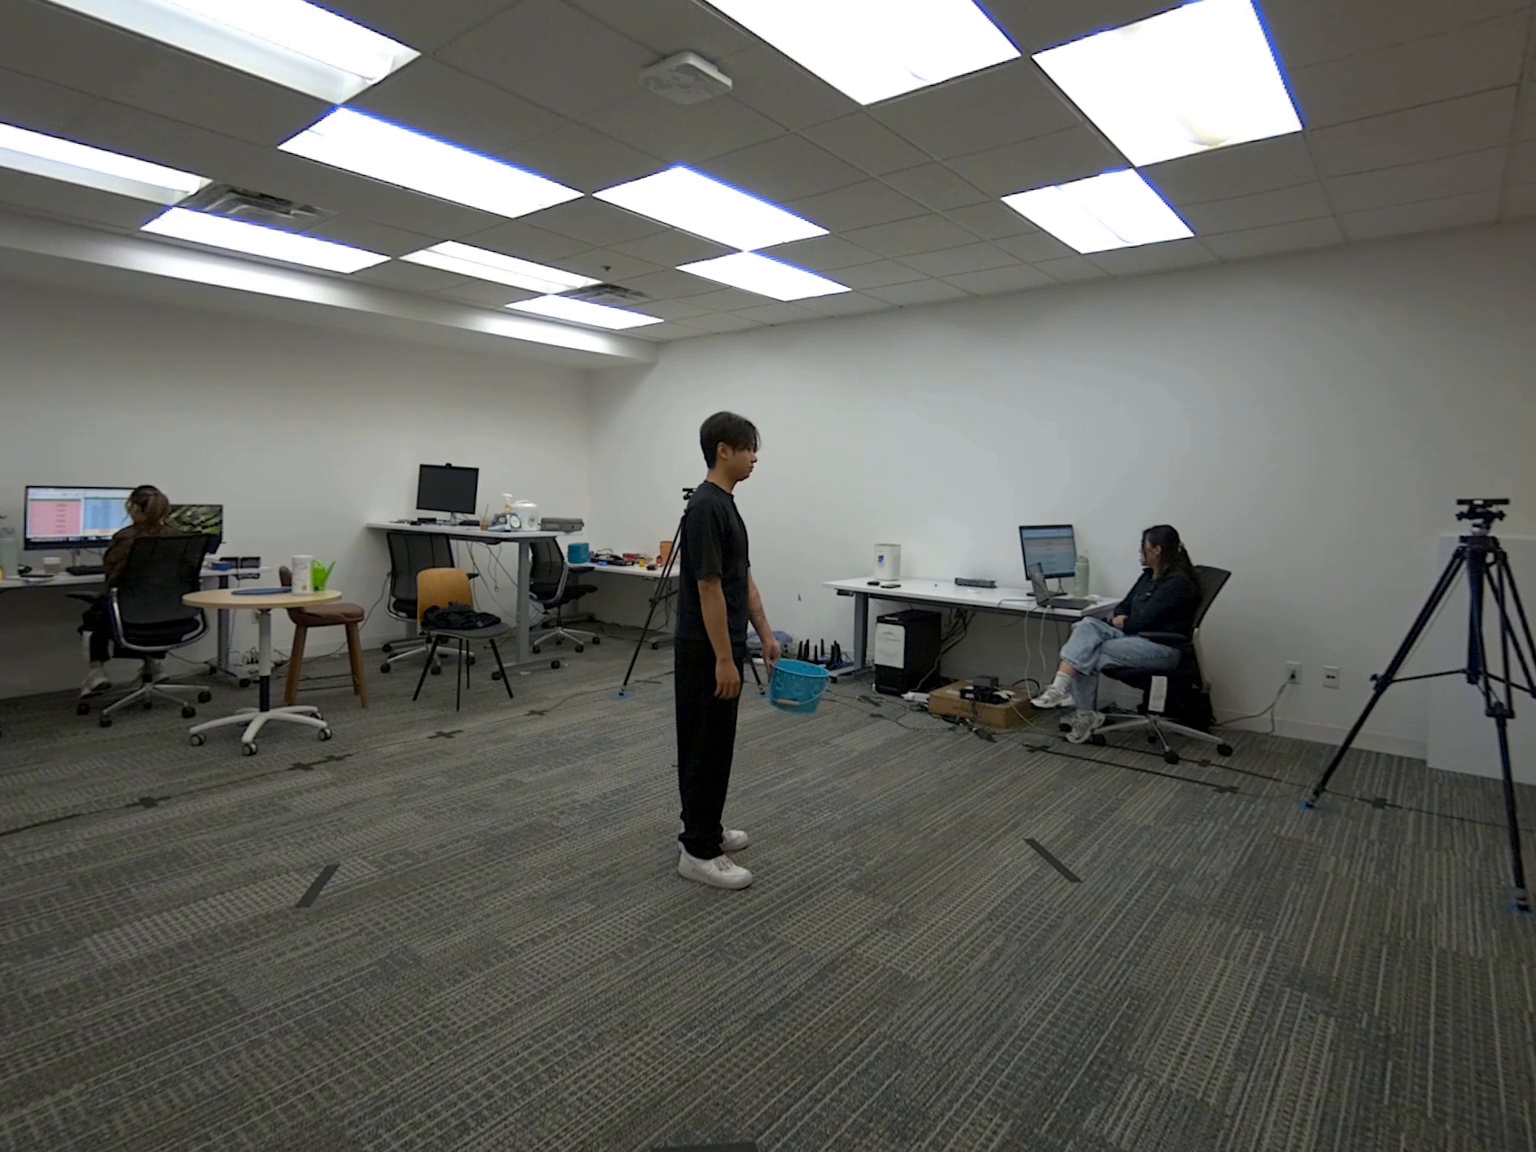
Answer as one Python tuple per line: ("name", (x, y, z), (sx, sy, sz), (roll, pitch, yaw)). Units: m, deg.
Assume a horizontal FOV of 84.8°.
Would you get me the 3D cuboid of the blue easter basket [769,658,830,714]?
("blue easter basket", (0.089, 0.415, 3.222), (0.243, 0.156, 0.244), (9, 2, -2))
